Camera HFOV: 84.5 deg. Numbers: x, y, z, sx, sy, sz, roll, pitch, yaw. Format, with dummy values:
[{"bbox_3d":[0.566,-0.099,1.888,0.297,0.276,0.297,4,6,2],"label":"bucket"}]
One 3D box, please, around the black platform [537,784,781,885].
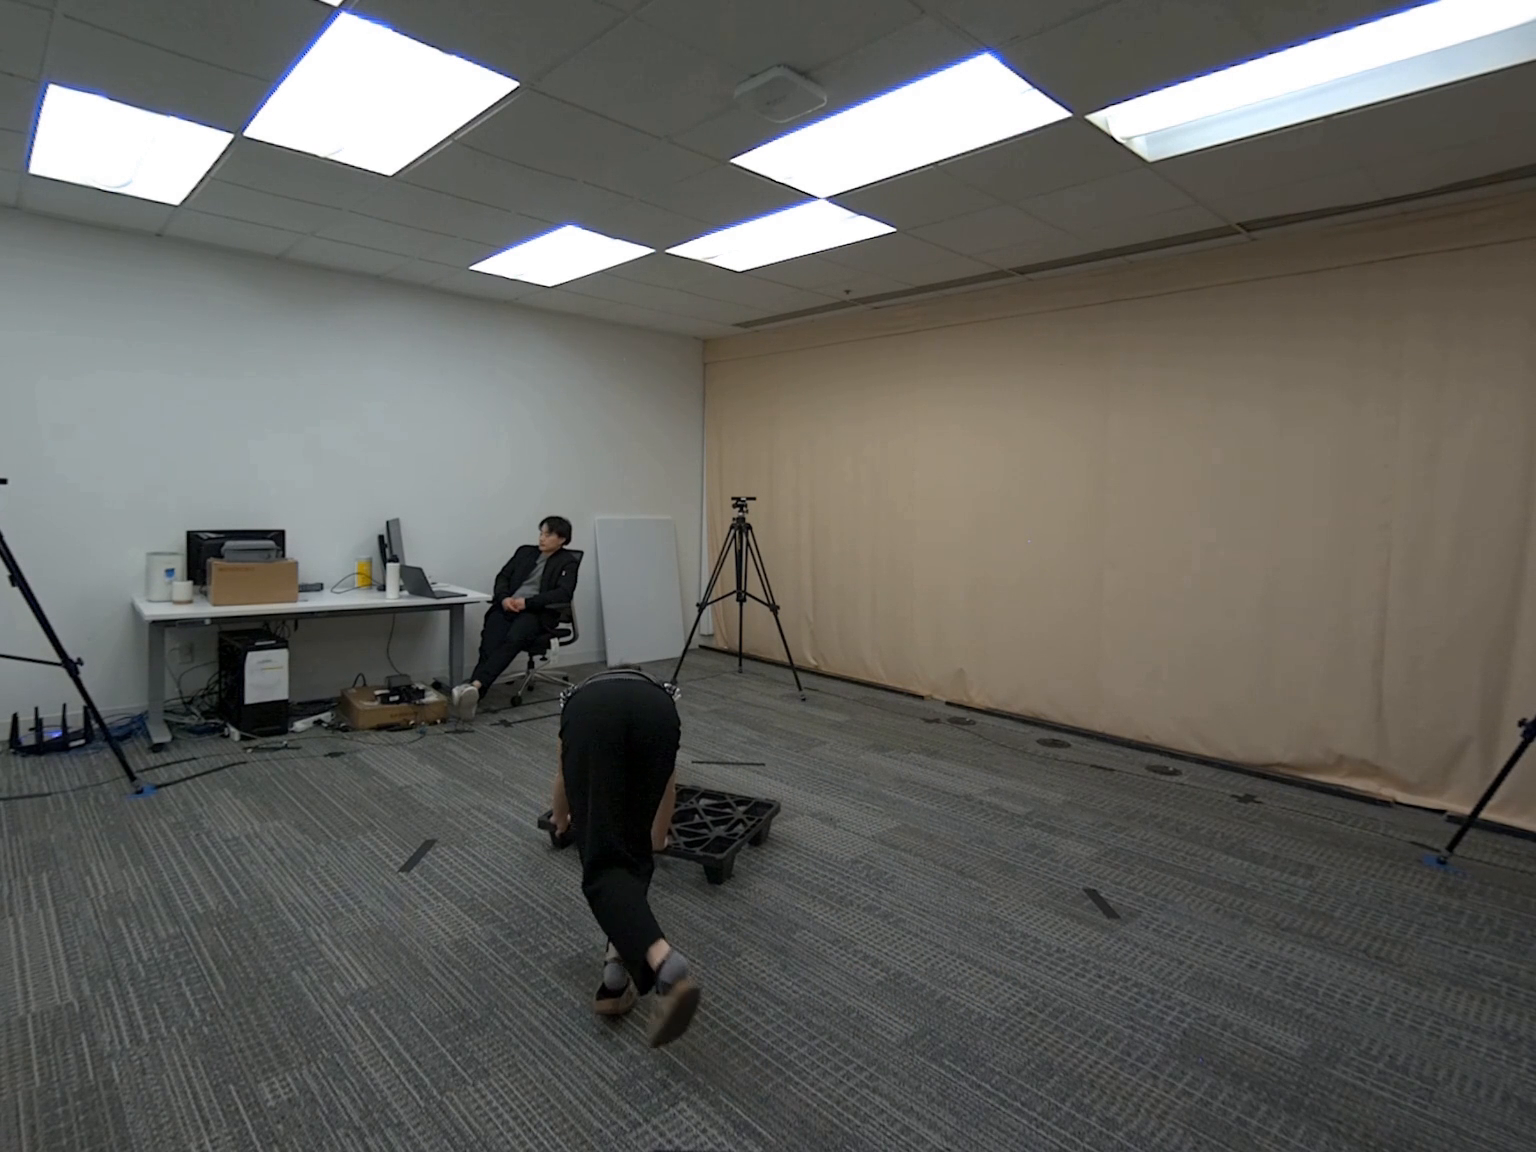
[{"bbox_3d":[-0.432,1.005,3.383,0.820,0.143,0.596,4,6,23],"label":"black platform"}]
